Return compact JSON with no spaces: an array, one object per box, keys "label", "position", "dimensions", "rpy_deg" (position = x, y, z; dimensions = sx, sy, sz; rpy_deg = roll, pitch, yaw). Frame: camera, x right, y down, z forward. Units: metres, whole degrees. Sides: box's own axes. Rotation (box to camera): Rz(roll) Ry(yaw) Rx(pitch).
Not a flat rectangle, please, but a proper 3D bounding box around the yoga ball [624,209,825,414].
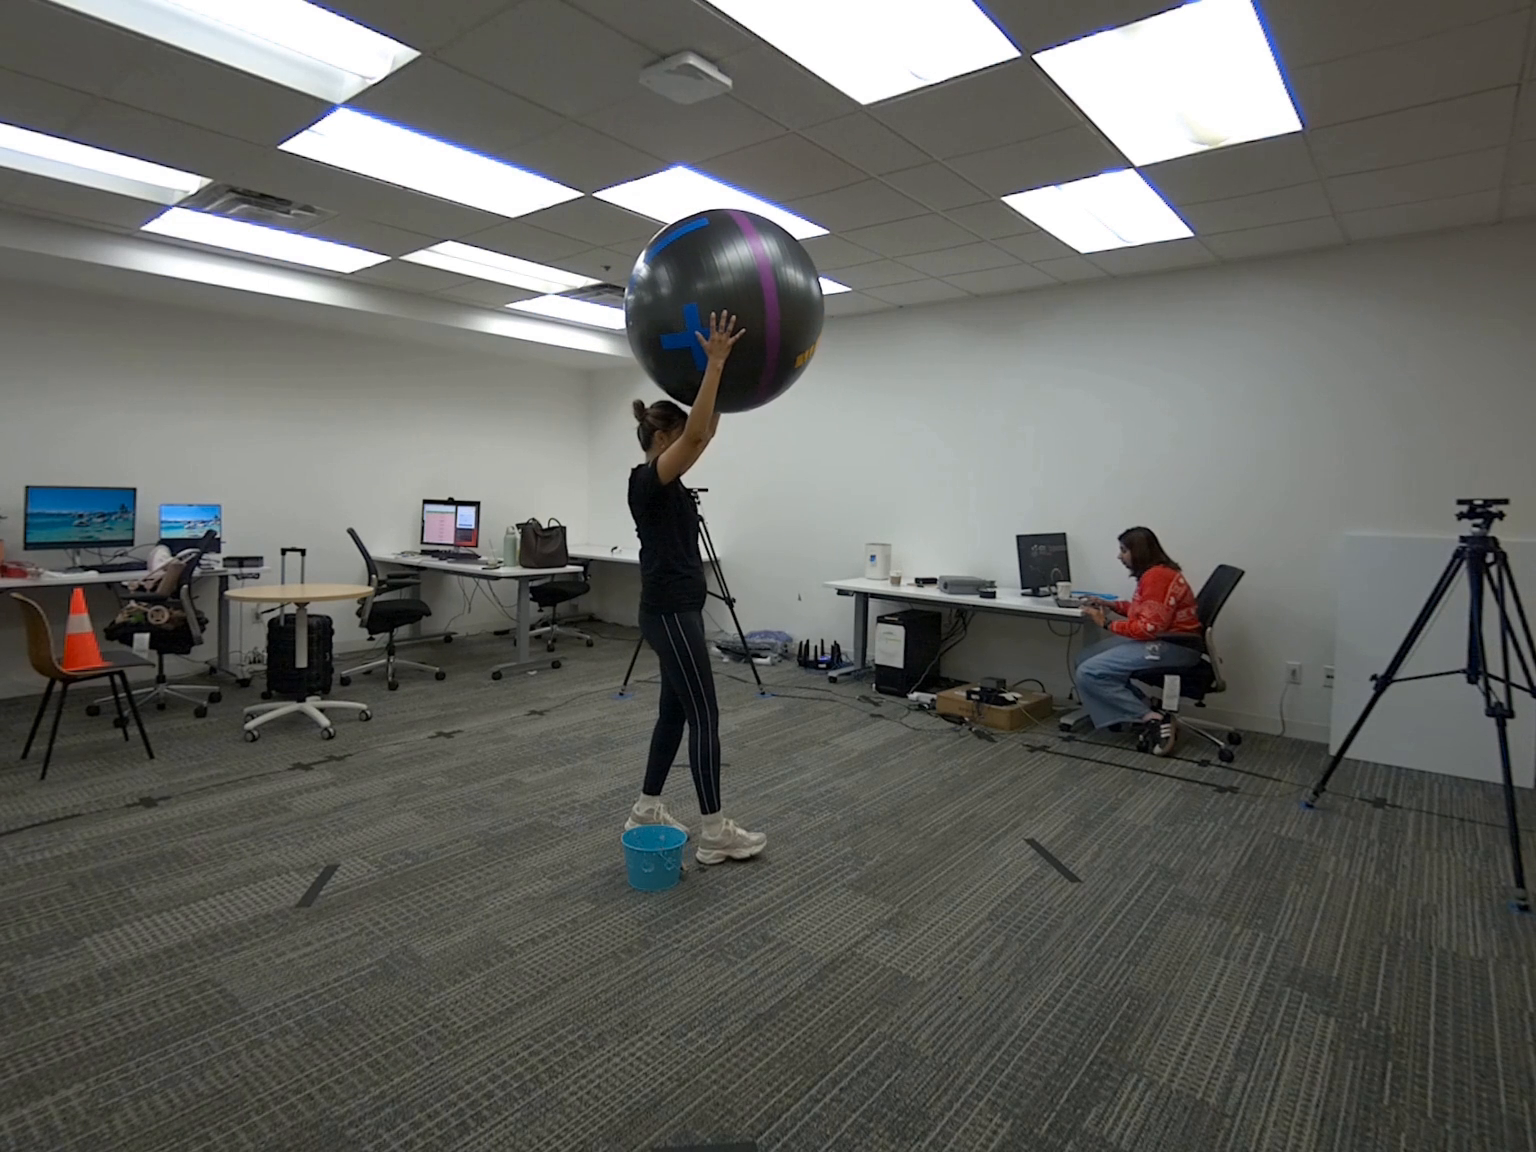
[{"label":"yoga ball","position":[-0.172,-0.995,3.234],"dimensions":[0.757,0.755,0.762],"rpy_deg":[1,4,-2]}]
